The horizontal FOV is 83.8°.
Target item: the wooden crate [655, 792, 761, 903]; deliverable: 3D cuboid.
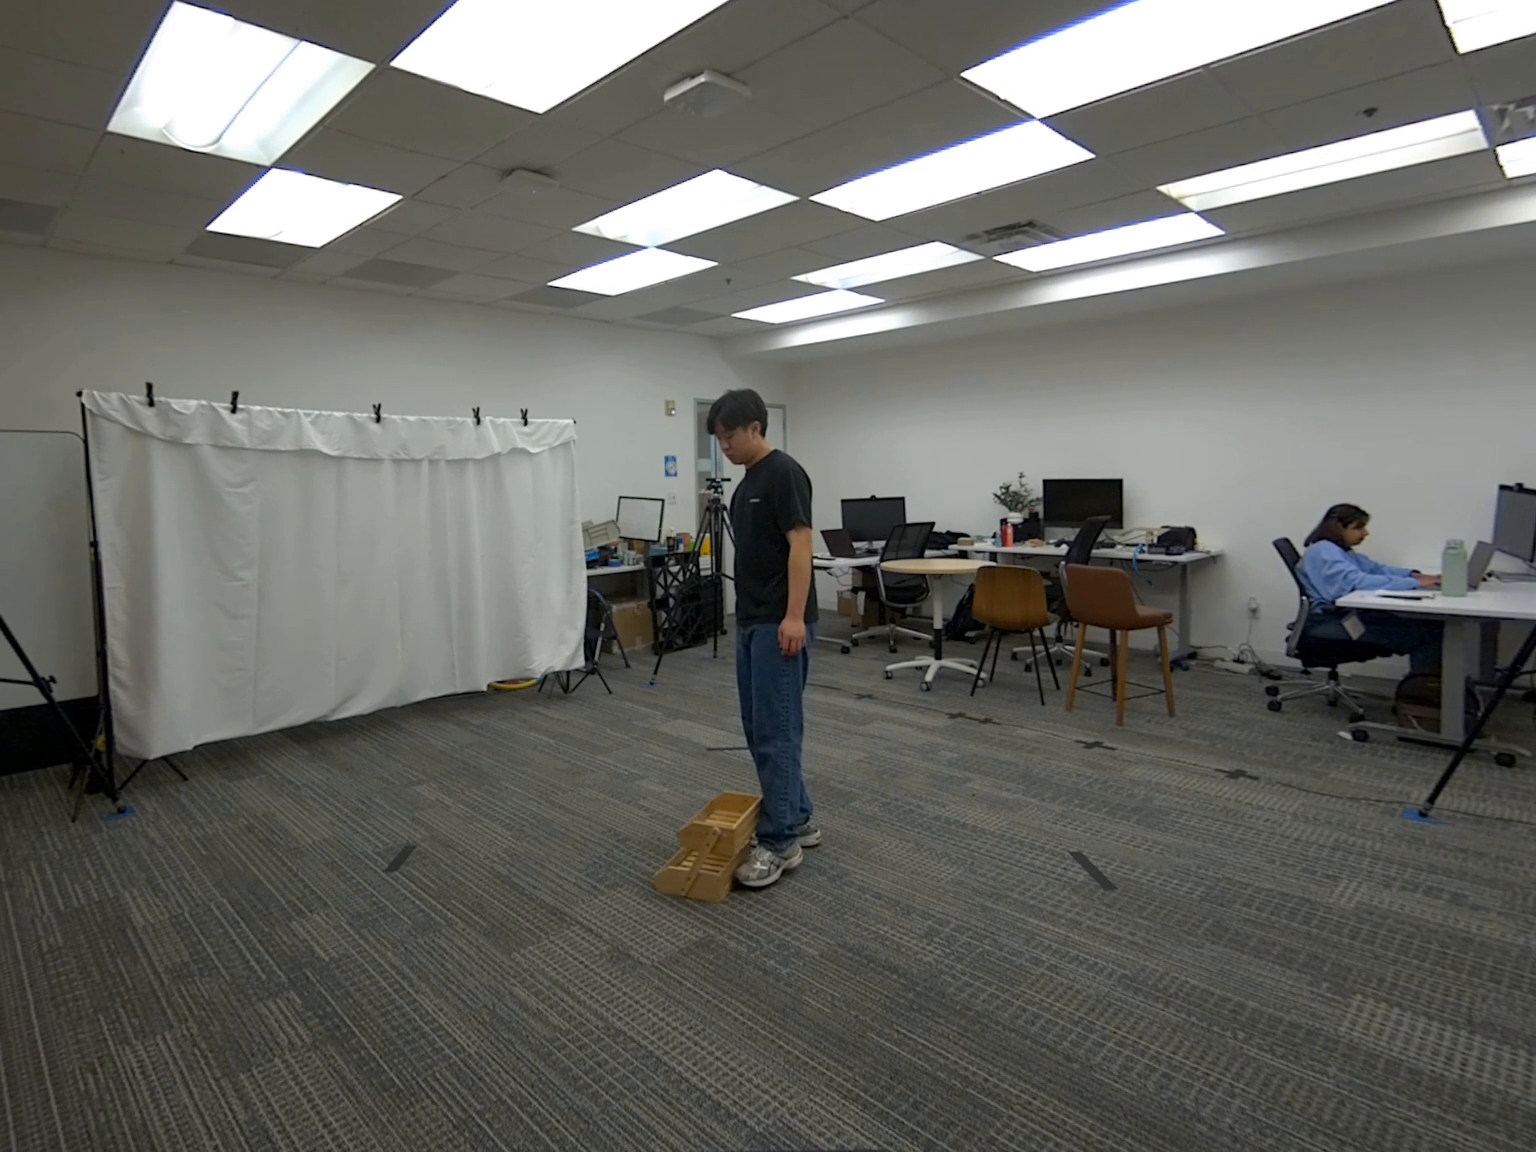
[{"bbox_3d":[-0.208,0.929,2.979,0.308,0.272,0.320,1,6,19],"label":"wooden crate"}]
